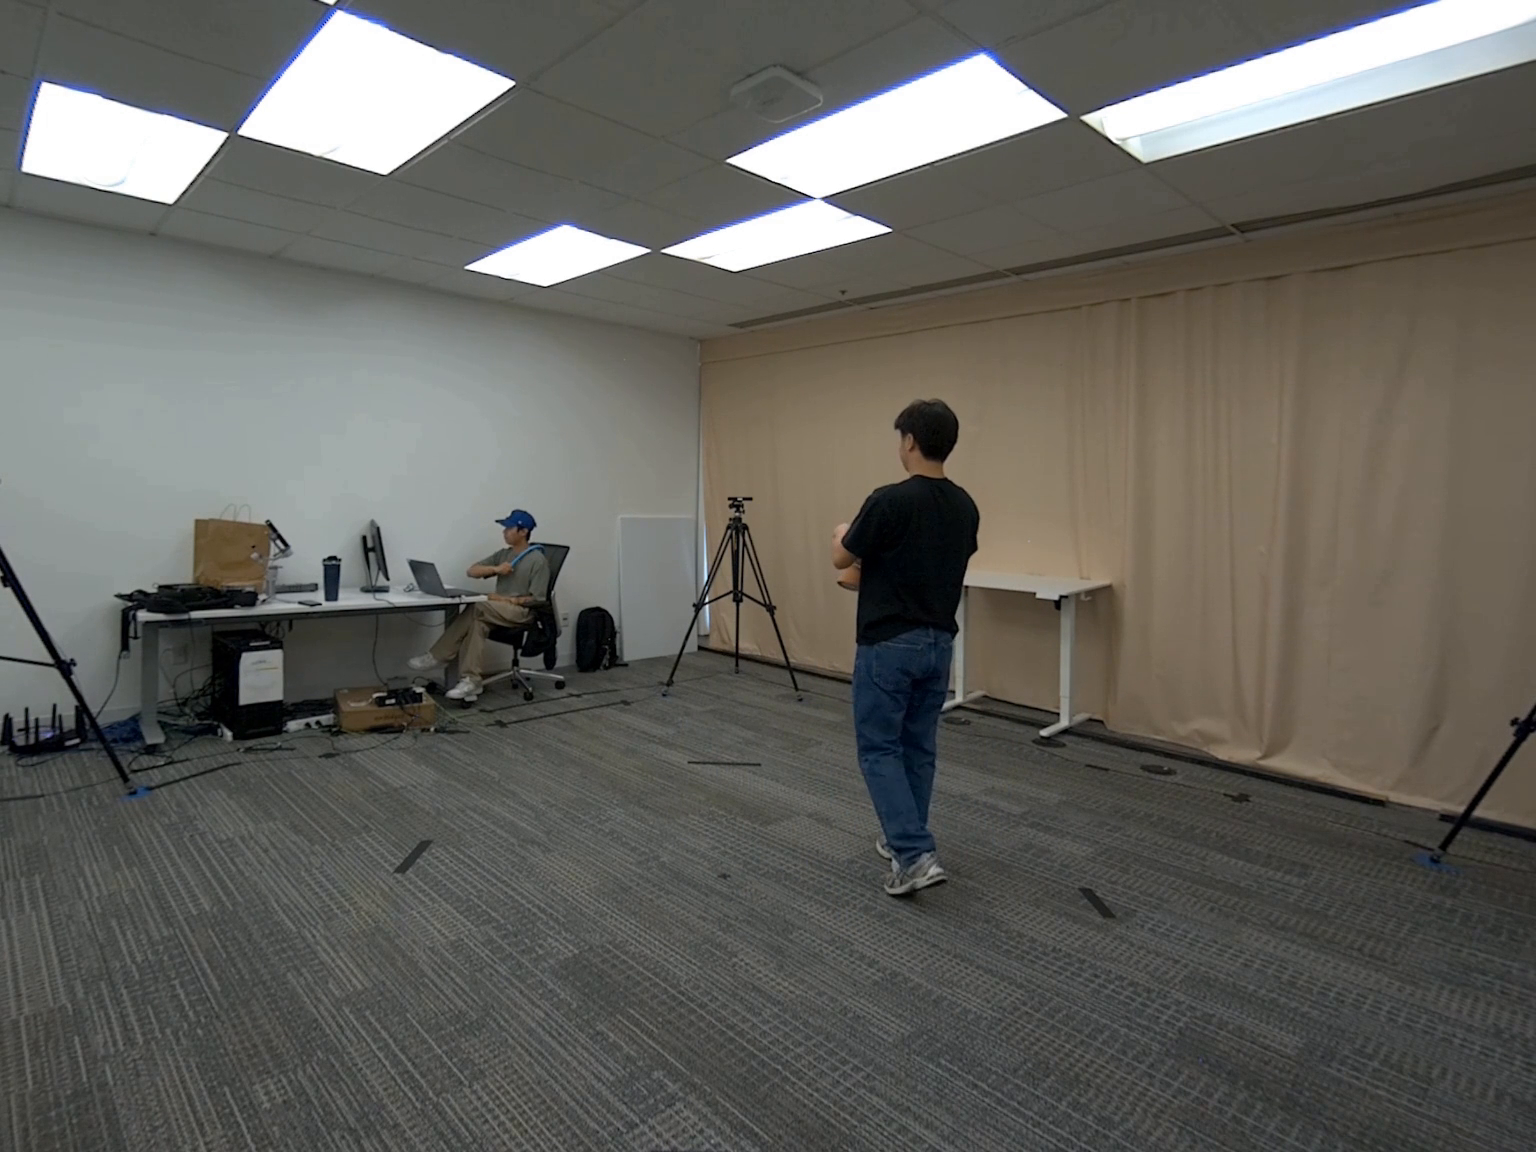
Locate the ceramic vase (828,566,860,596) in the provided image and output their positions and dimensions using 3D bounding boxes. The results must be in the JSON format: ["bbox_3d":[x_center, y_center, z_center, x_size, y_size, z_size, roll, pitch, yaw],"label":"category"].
[{"bbox_3d":[0.368,-0.054,3.441,0.159,0.221,0.134,23,-14,1],"label":"ceramic vase"}]
